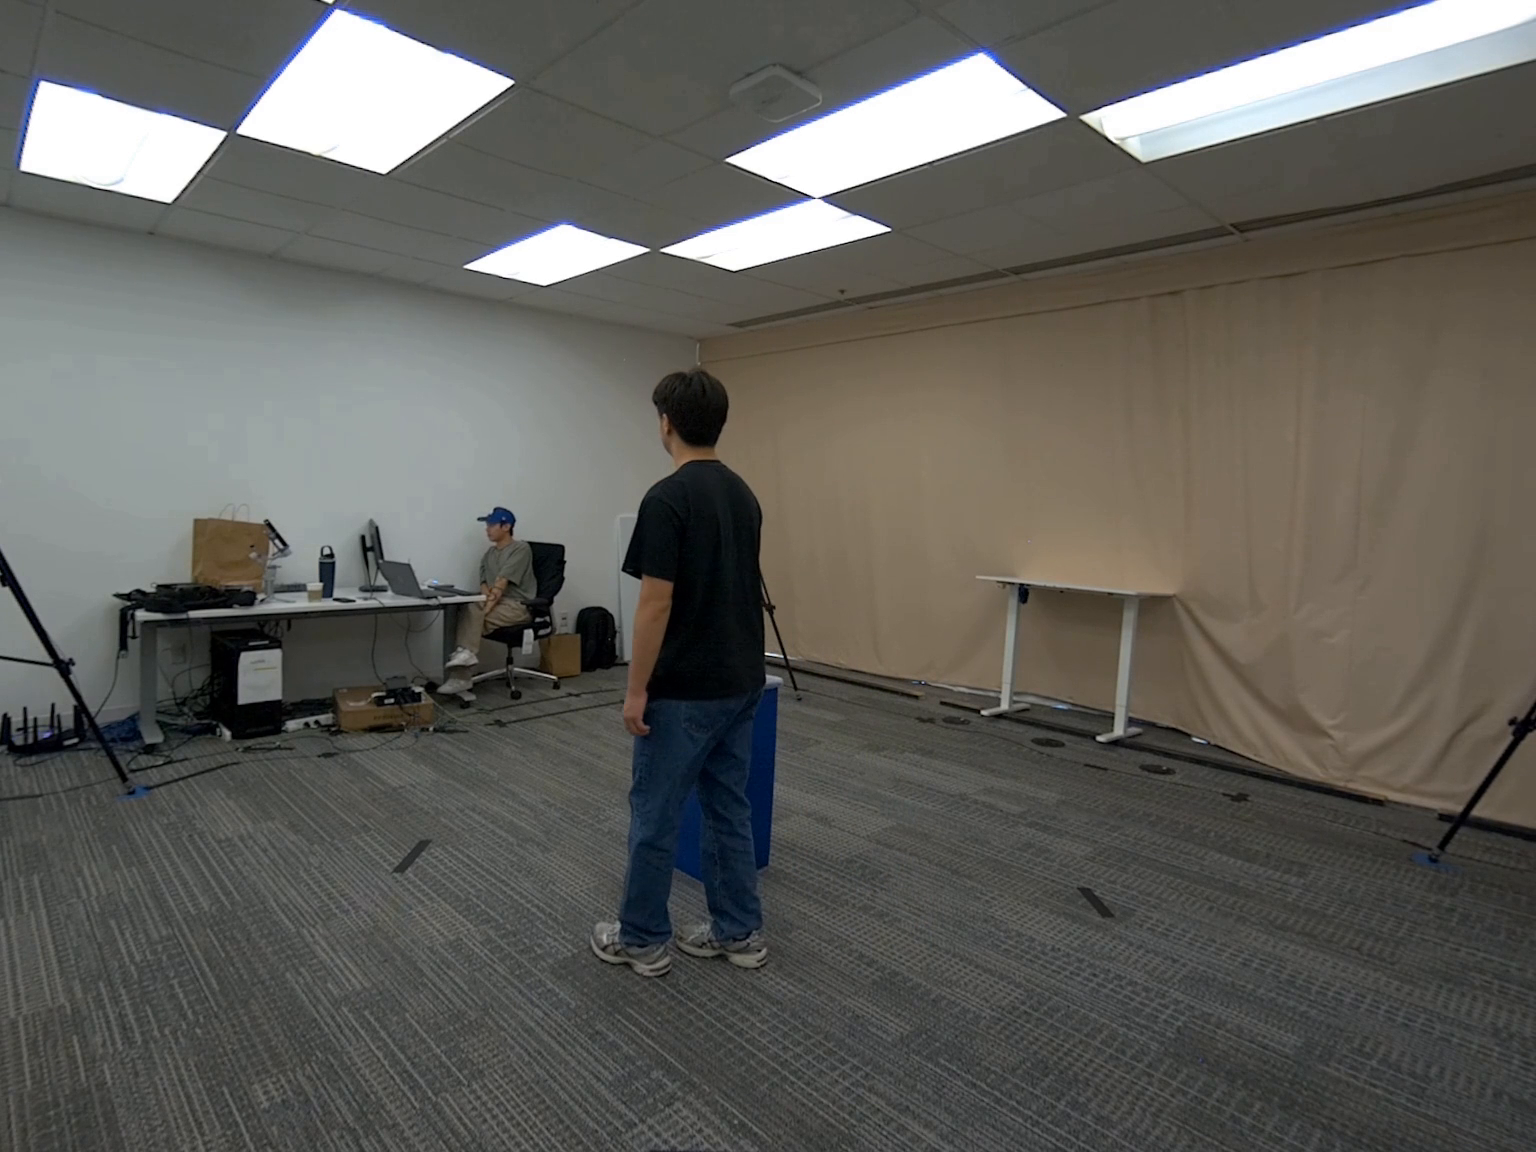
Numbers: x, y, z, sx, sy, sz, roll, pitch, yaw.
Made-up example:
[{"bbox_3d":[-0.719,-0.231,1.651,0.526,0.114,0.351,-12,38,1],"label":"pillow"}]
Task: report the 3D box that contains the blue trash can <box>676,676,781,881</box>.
[{"bbox_3d":[-0.196,0.741,3.195,0.365,0.712,0.388,-1,4,-43],"label":"blue trash can"}]
